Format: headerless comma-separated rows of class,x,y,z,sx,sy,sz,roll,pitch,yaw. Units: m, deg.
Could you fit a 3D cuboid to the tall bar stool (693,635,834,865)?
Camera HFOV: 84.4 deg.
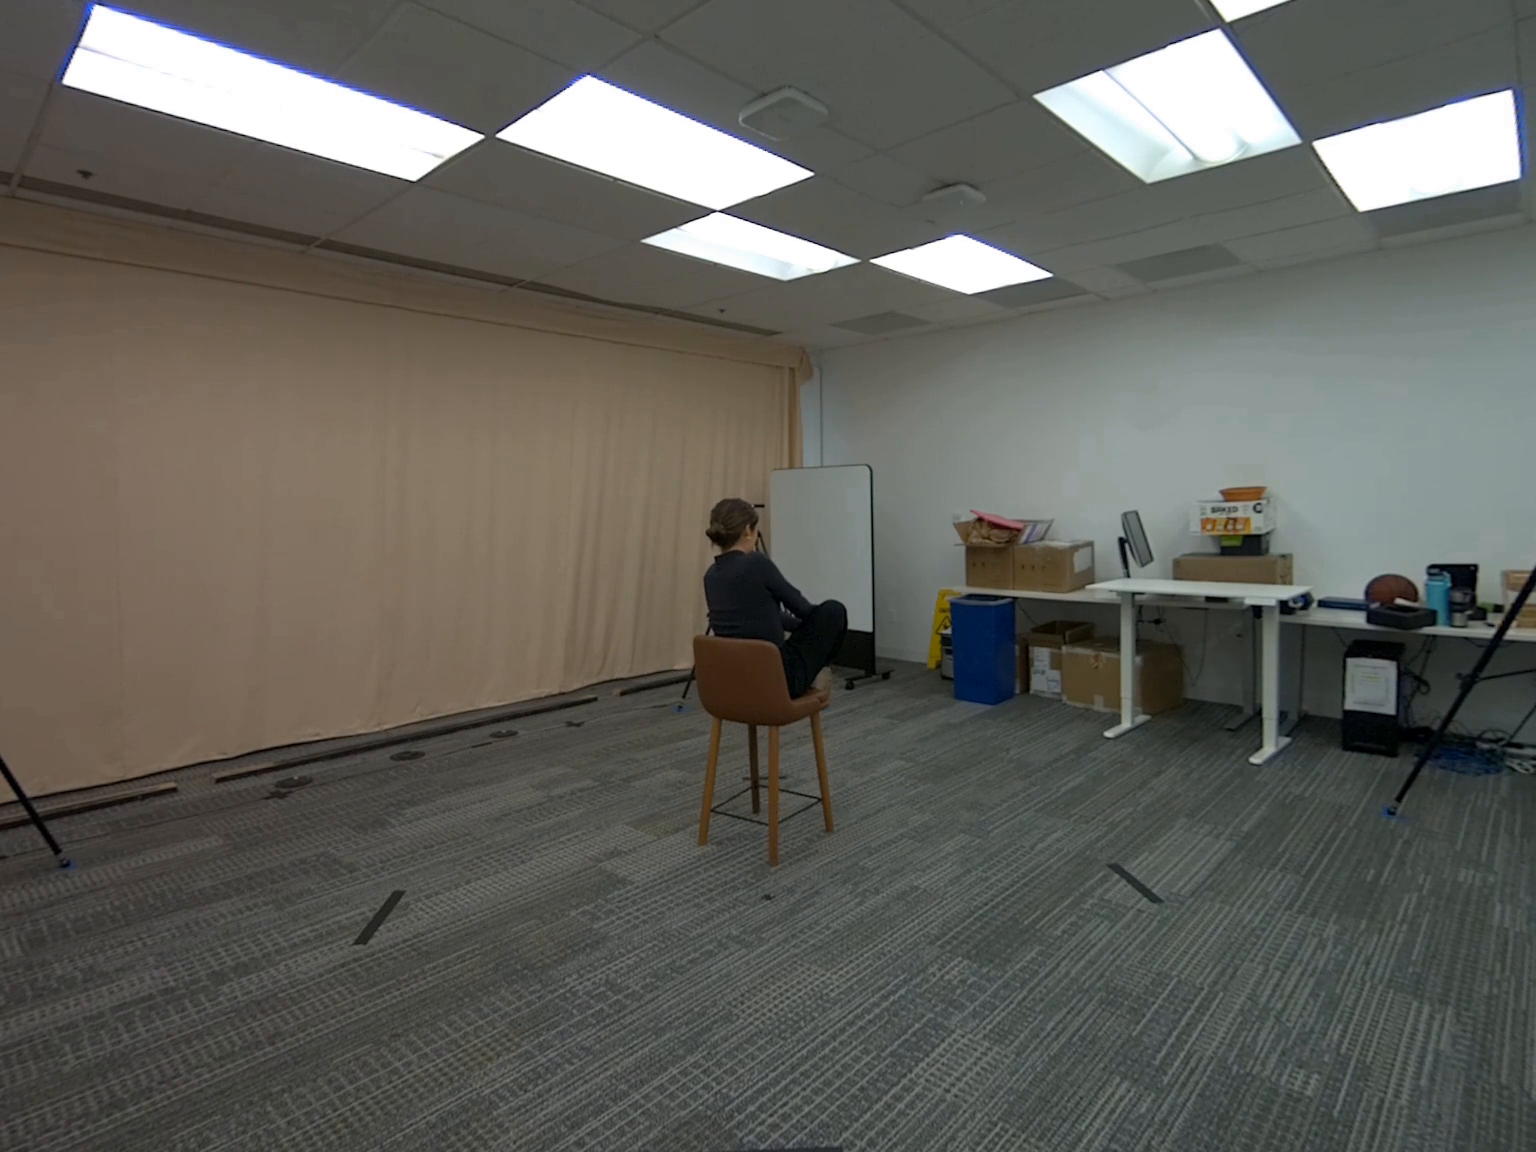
tall bar stool,-0.023,0.663,3.498,0.471,0.887,0.455,1,5,35
